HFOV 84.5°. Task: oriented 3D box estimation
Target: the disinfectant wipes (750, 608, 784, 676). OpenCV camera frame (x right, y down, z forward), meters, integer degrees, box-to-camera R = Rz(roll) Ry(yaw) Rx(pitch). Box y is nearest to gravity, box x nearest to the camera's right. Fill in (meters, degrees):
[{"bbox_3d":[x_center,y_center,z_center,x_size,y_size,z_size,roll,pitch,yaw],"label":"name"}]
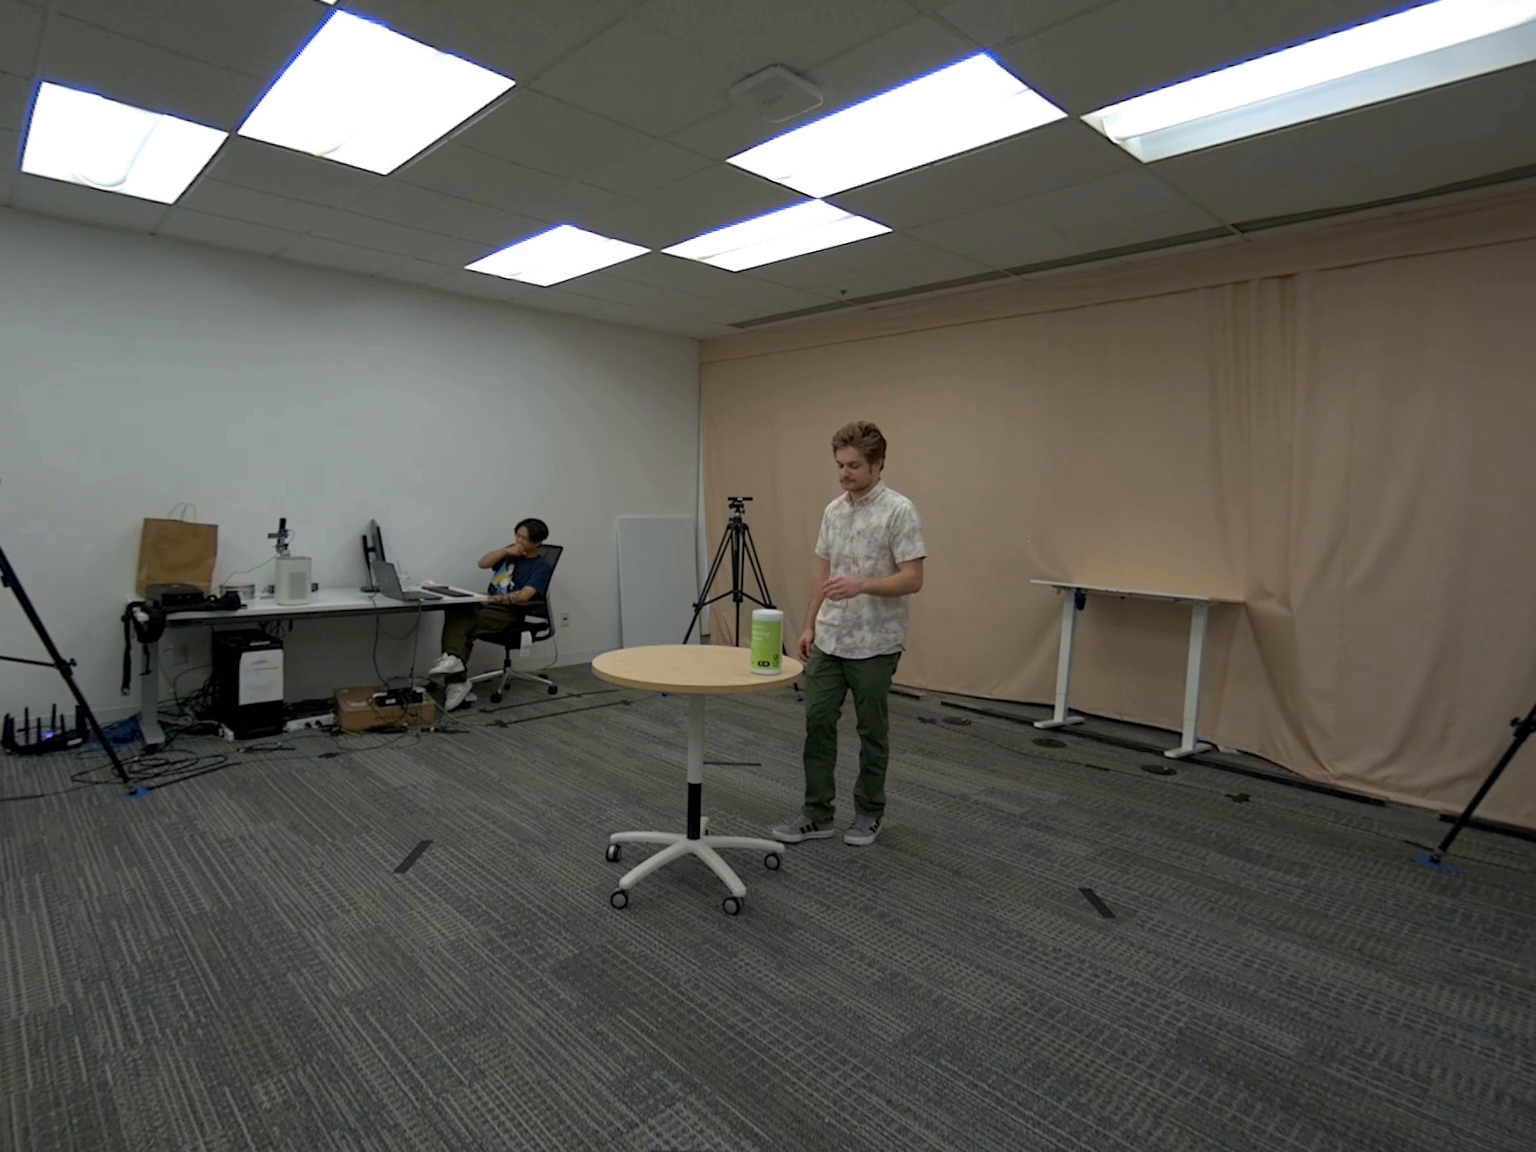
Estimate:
[{"bbox_3d":[-0.011,0.232,2.926,0.118,0.217,0.118,3,5,-2],"label":"disinfectant wipes"}]
